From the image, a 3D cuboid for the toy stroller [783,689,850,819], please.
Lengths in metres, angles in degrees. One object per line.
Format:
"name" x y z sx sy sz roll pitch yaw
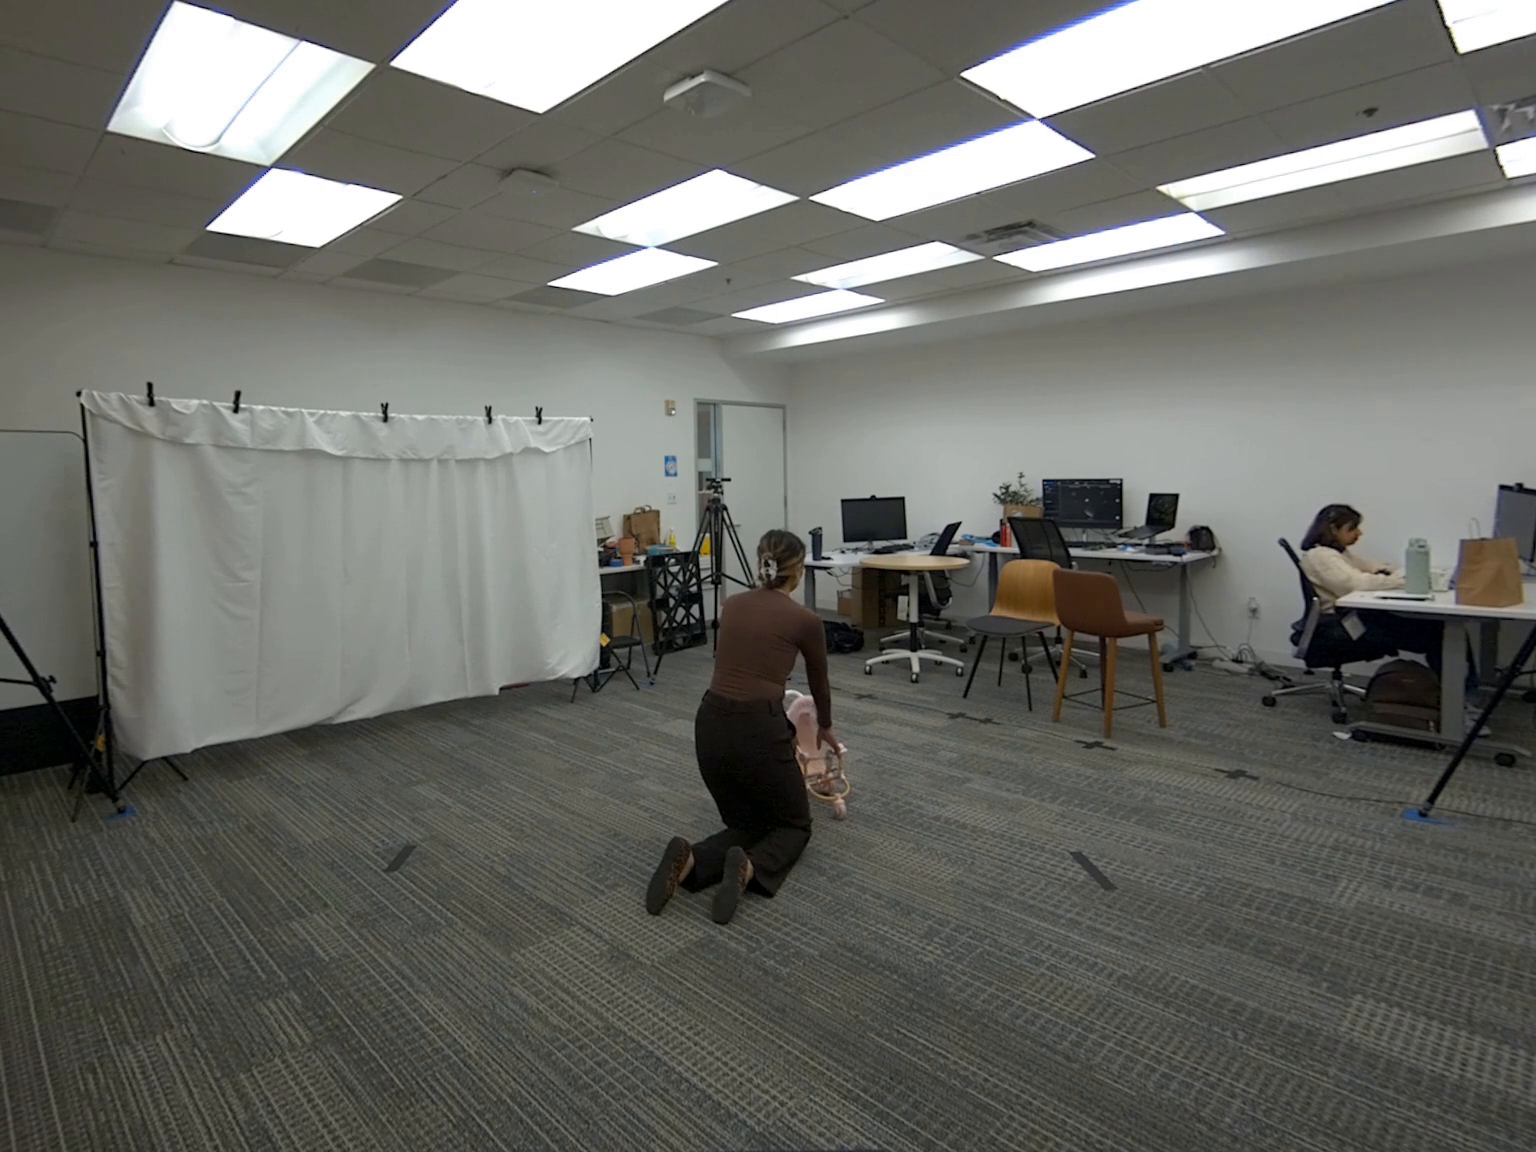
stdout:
"toy stroller" 0.179 0.747 3.637 0.275 0.540 0.346 -5 -9 -29
